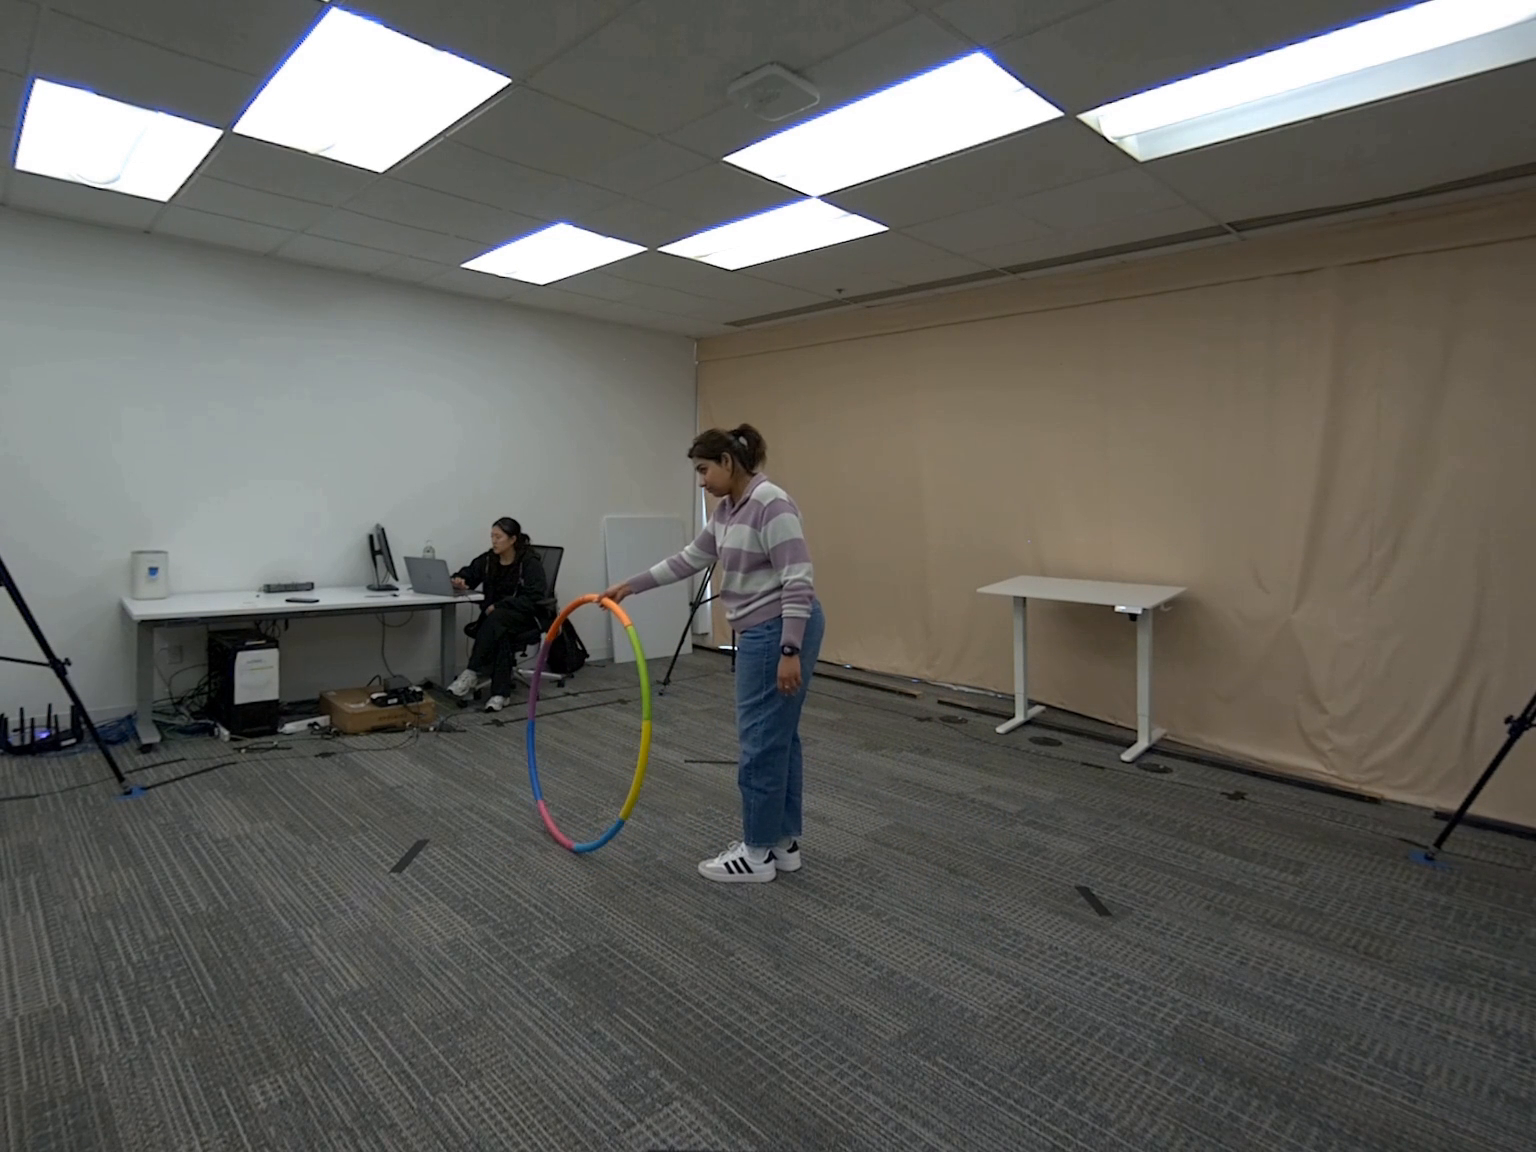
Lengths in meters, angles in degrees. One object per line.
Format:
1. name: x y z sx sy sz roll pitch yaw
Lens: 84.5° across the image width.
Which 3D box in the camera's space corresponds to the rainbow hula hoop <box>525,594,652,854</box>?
1. rainbow hula hoop: -0.744 0.576 3.353 0.034 0.980 1.003 10 -2 -39
